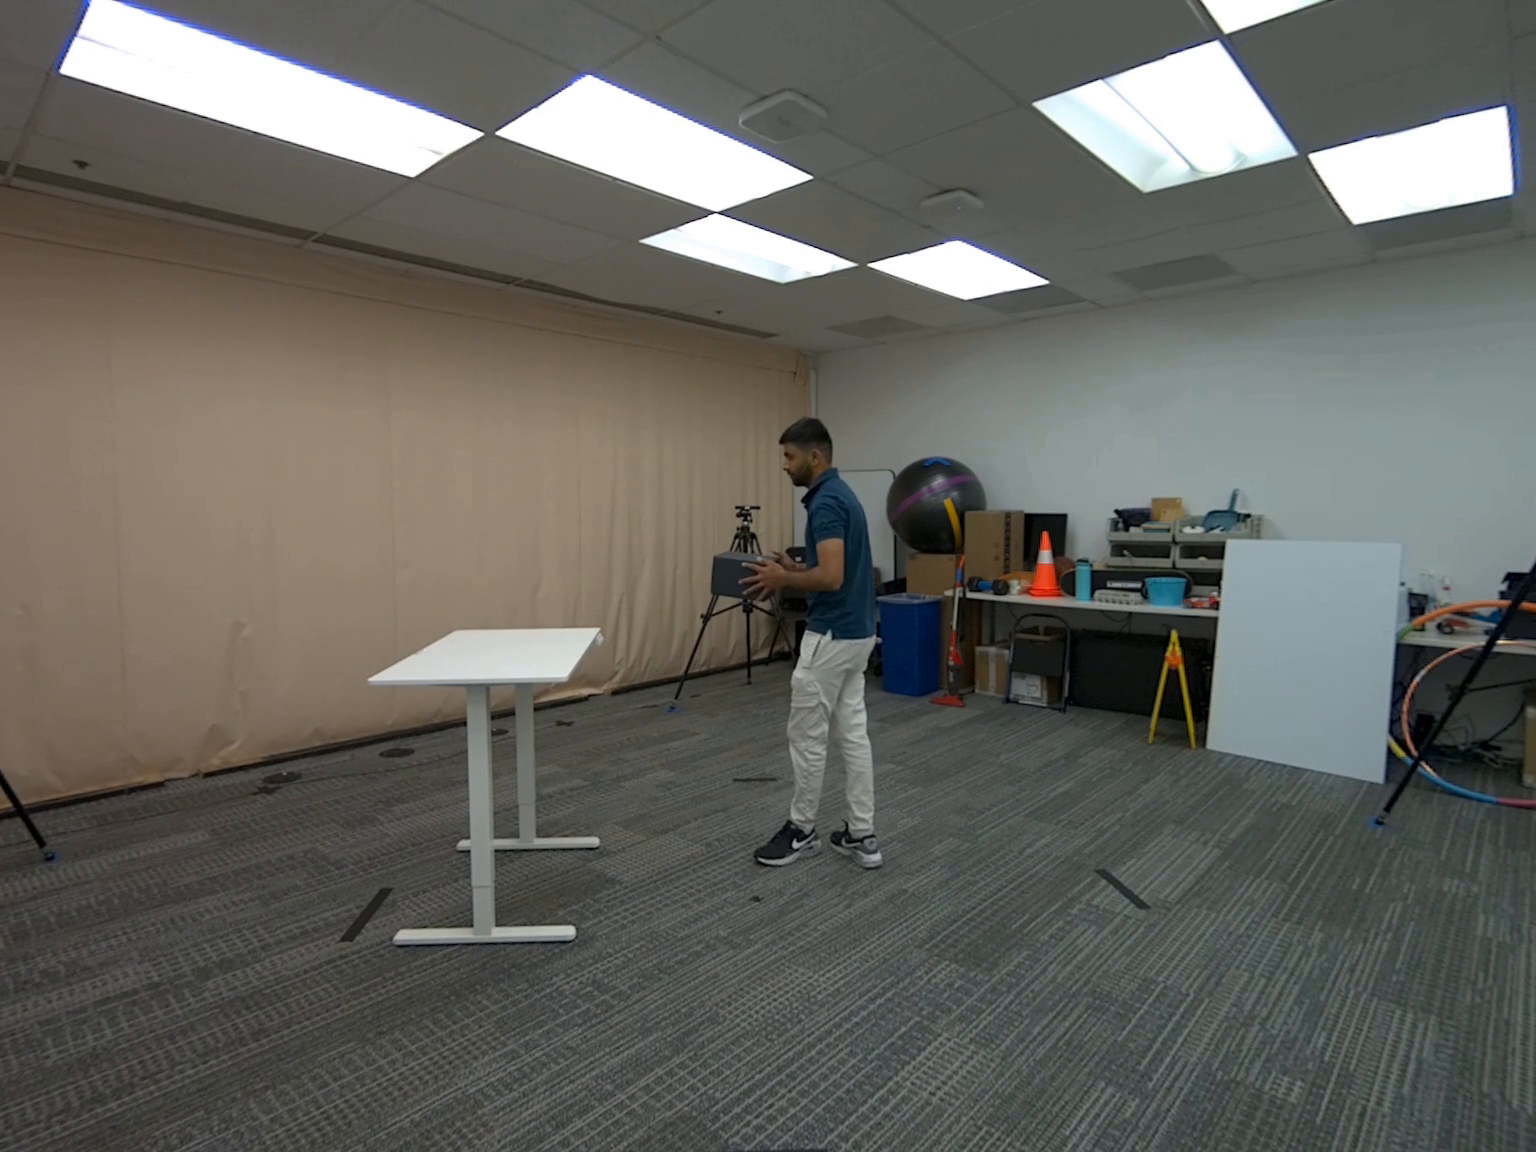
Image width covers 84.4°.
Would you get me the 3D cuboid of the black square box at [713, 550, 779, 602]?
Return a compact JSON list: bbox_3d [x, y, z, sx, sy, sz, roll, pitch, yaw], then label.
[{"bbox_3d":[-0.083,-0.006,3.440,0.231,0.155,0.215,7,8,11],"label":"black square box"}]
